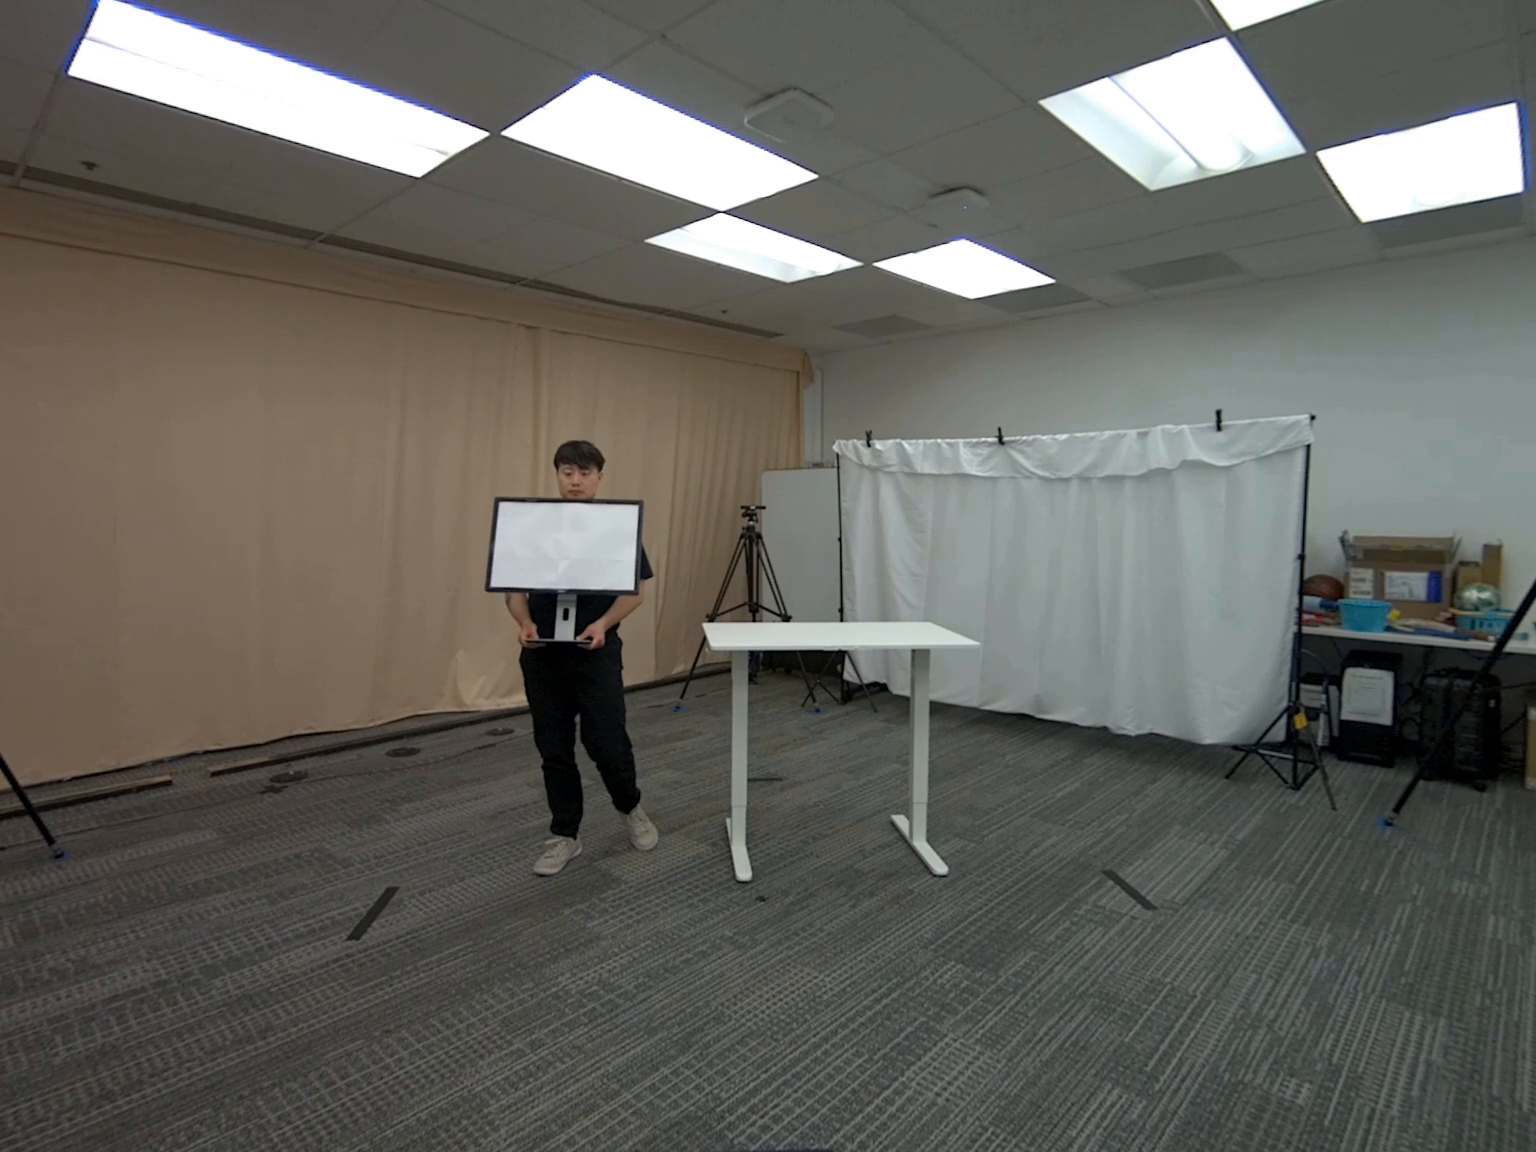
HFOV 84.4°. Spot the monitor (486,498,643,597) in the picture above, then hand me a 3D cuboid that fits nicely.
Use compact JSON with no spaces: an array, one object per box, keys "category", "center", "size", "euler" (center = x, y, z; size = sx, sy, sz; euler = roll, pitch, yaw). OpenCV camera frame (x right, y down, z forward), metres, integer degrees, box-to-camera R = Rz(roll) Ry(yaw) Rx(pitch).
[{"category":"monitor","center":[-0.746,-0.018,3.122],"size":[0.539,0.524,0.186],"euler":[-2,-6,-1]}]
